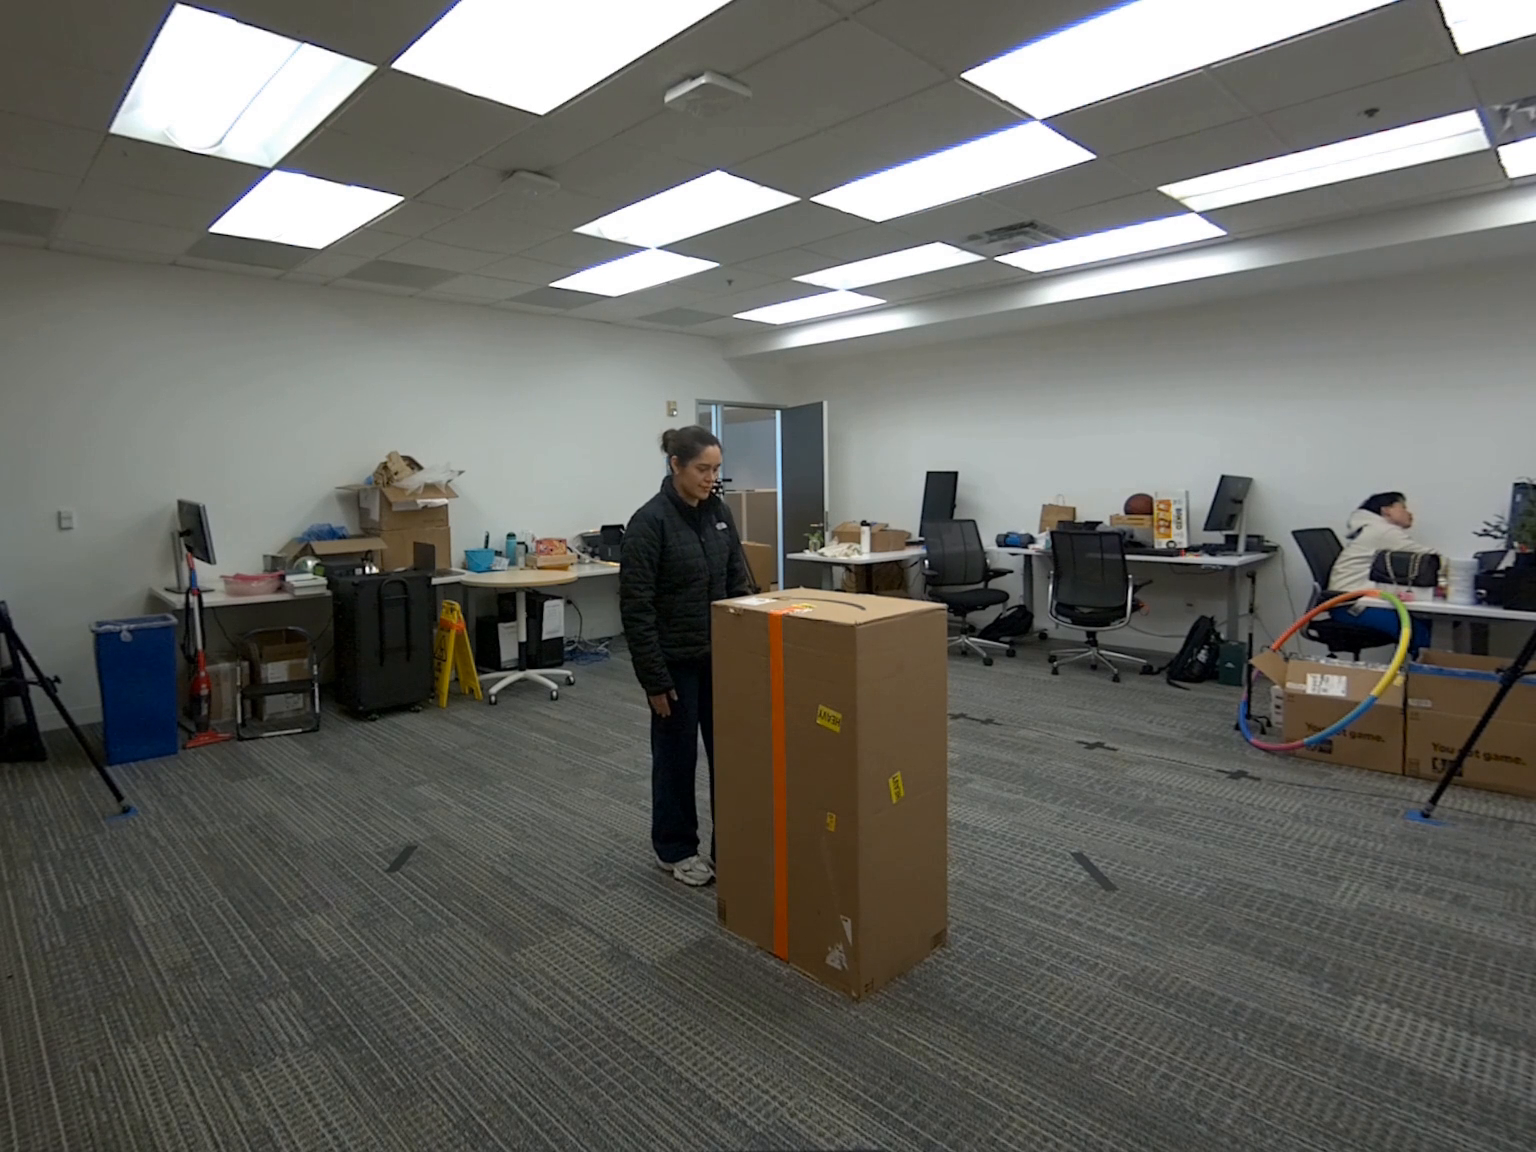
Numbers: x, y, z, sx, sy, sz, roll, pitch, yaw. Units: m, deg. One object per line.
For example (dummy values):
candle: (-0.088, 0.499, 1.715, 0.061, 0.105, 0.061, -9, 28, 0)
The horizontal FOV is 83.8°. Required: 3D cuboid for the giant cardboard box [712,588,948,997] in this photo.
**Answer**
giant cardboard box: (0.185, 0.591, 2.594, 0.415, 1.022, 0.595, -4, 5, -44)
